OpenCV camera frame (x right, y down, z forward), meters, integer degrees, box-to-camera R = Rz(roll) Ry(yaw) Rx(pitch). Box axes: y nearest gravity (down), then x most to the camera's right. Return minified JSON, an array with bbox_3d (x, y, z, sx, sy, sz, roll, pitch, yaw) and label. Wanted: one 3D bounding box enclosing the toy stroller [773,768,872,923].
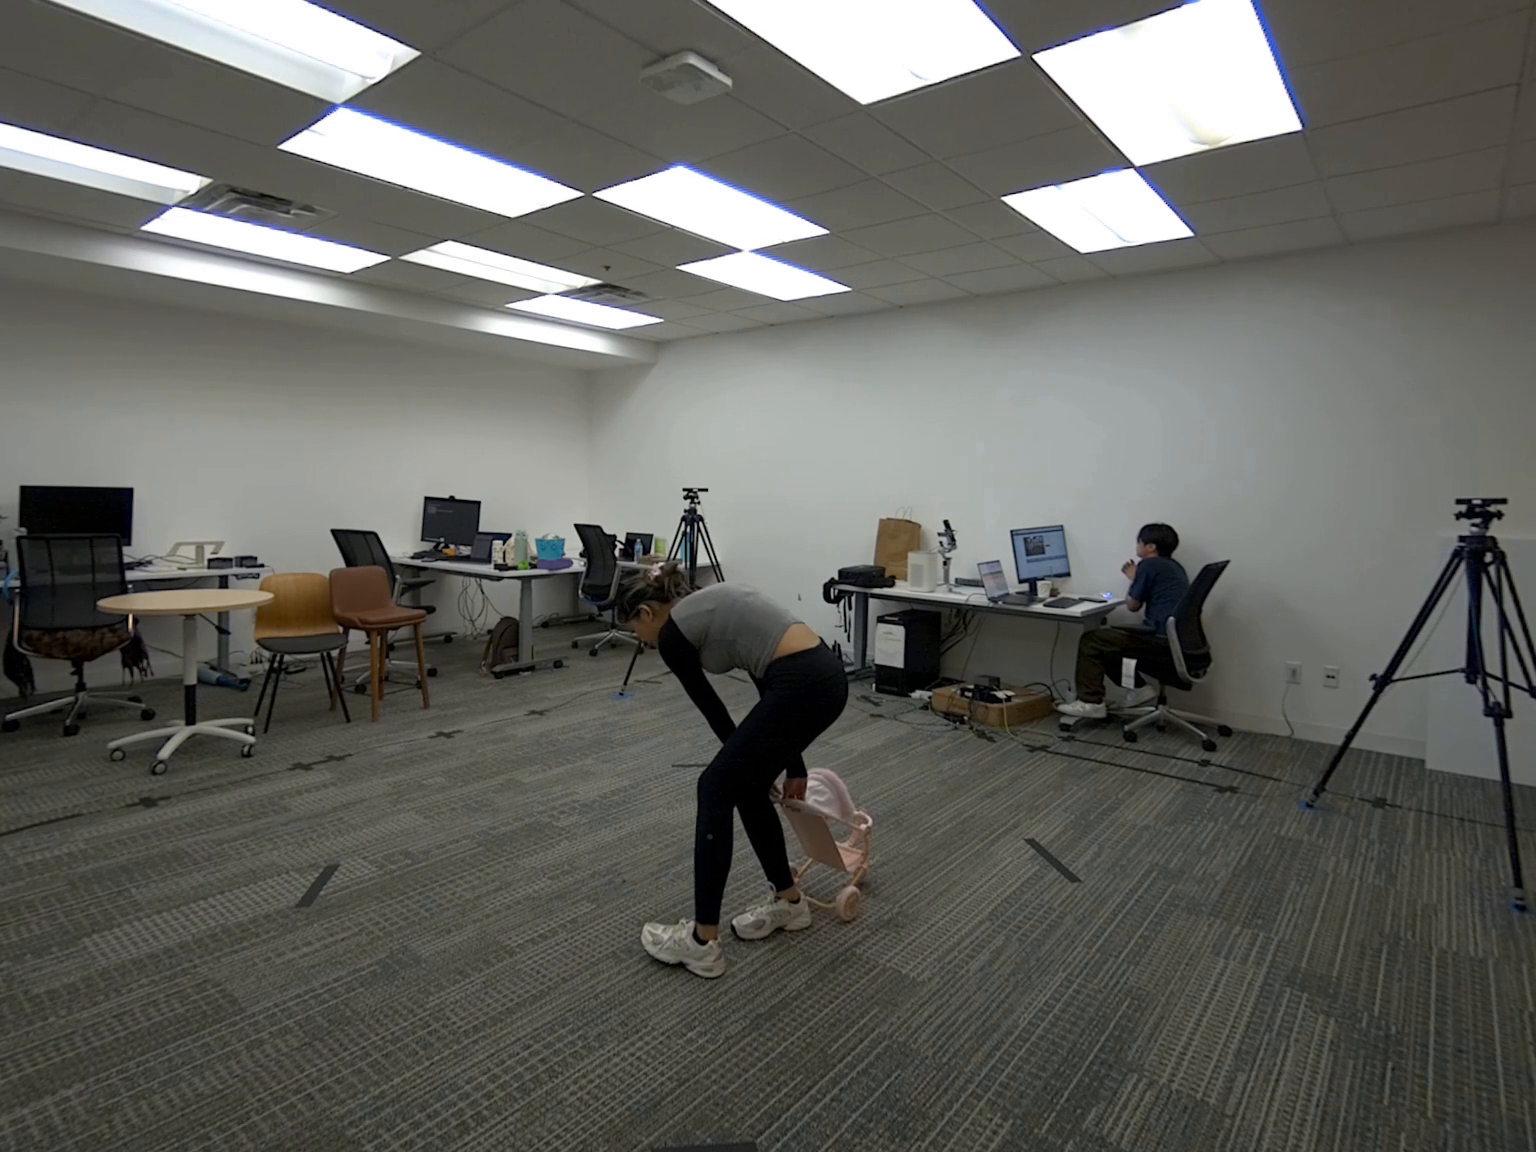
[{"bbox_3d":[0.192,0.874,2.874,0.291,0.526,0.336,3,22,45],"label":"toy stroller"}]
